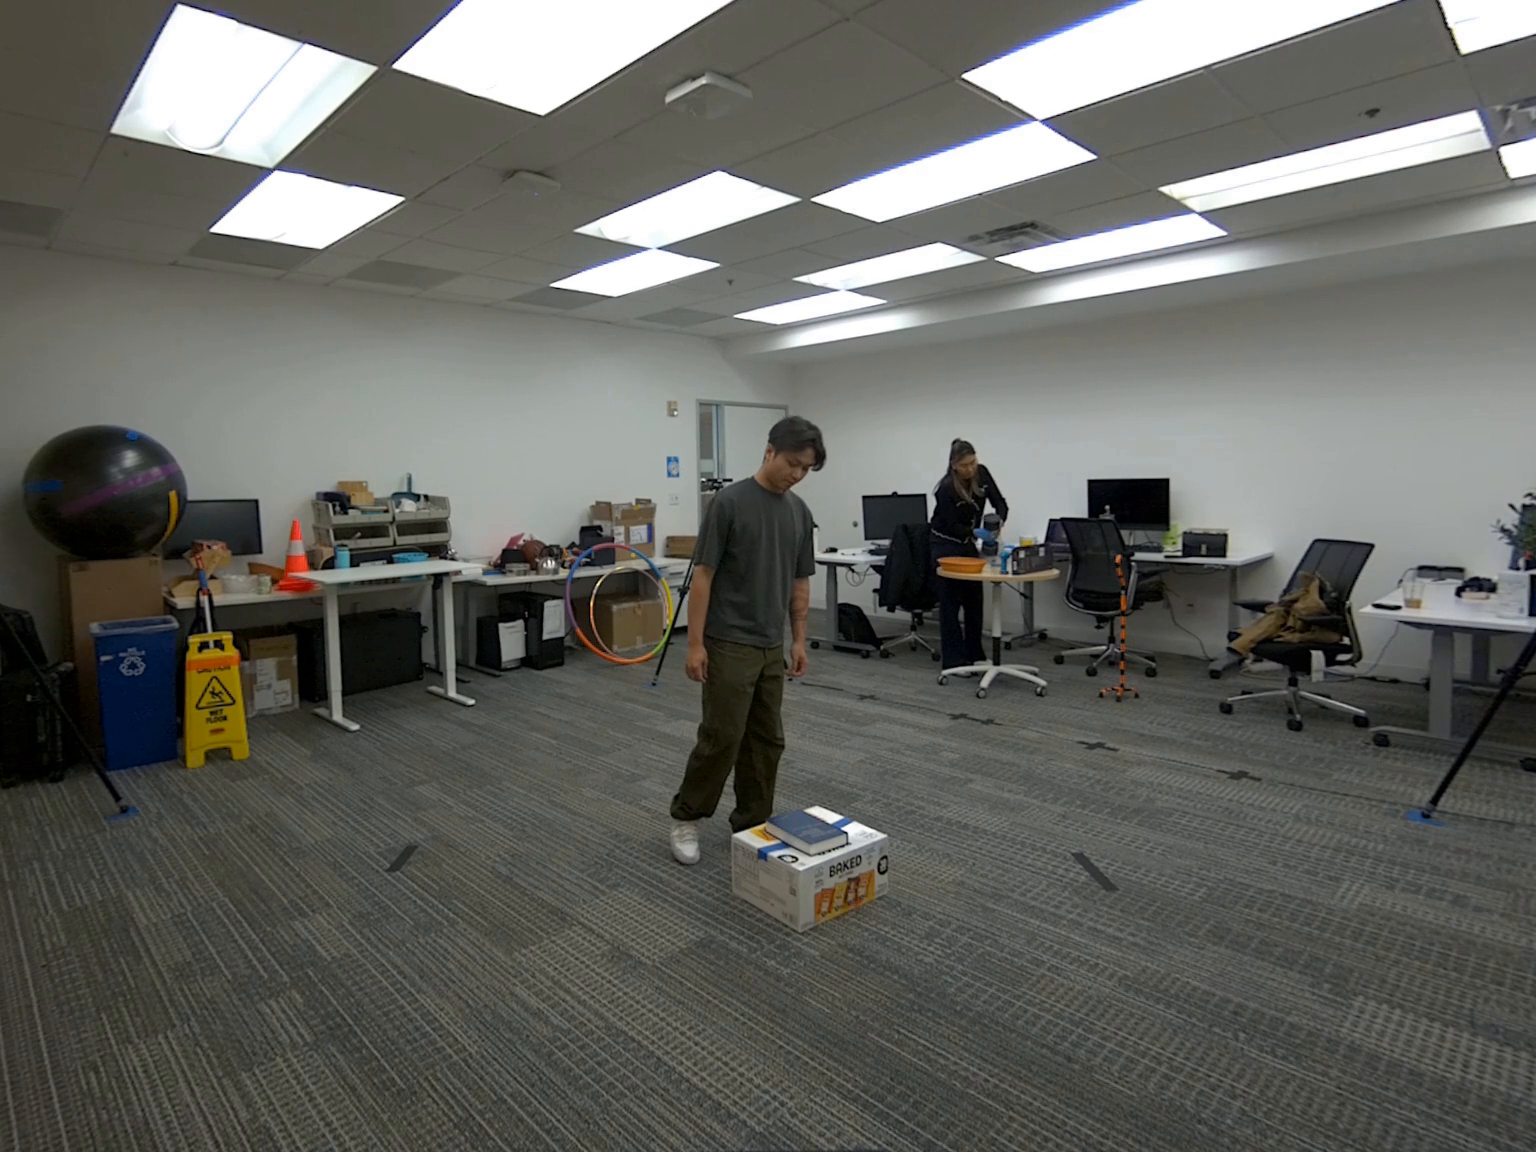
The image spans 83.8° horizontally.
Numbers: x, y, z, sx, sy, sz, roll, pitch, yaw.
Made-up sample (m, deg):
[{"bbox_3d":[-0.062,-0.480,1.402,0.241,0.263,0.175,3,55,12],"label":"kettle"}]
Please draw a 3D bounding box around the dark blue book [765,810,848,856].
[{"bbox_3d":[0.131,0.860,2.845,0.159,0.045,0.252,-6,8,-36],"label":"dark blue book"}]
